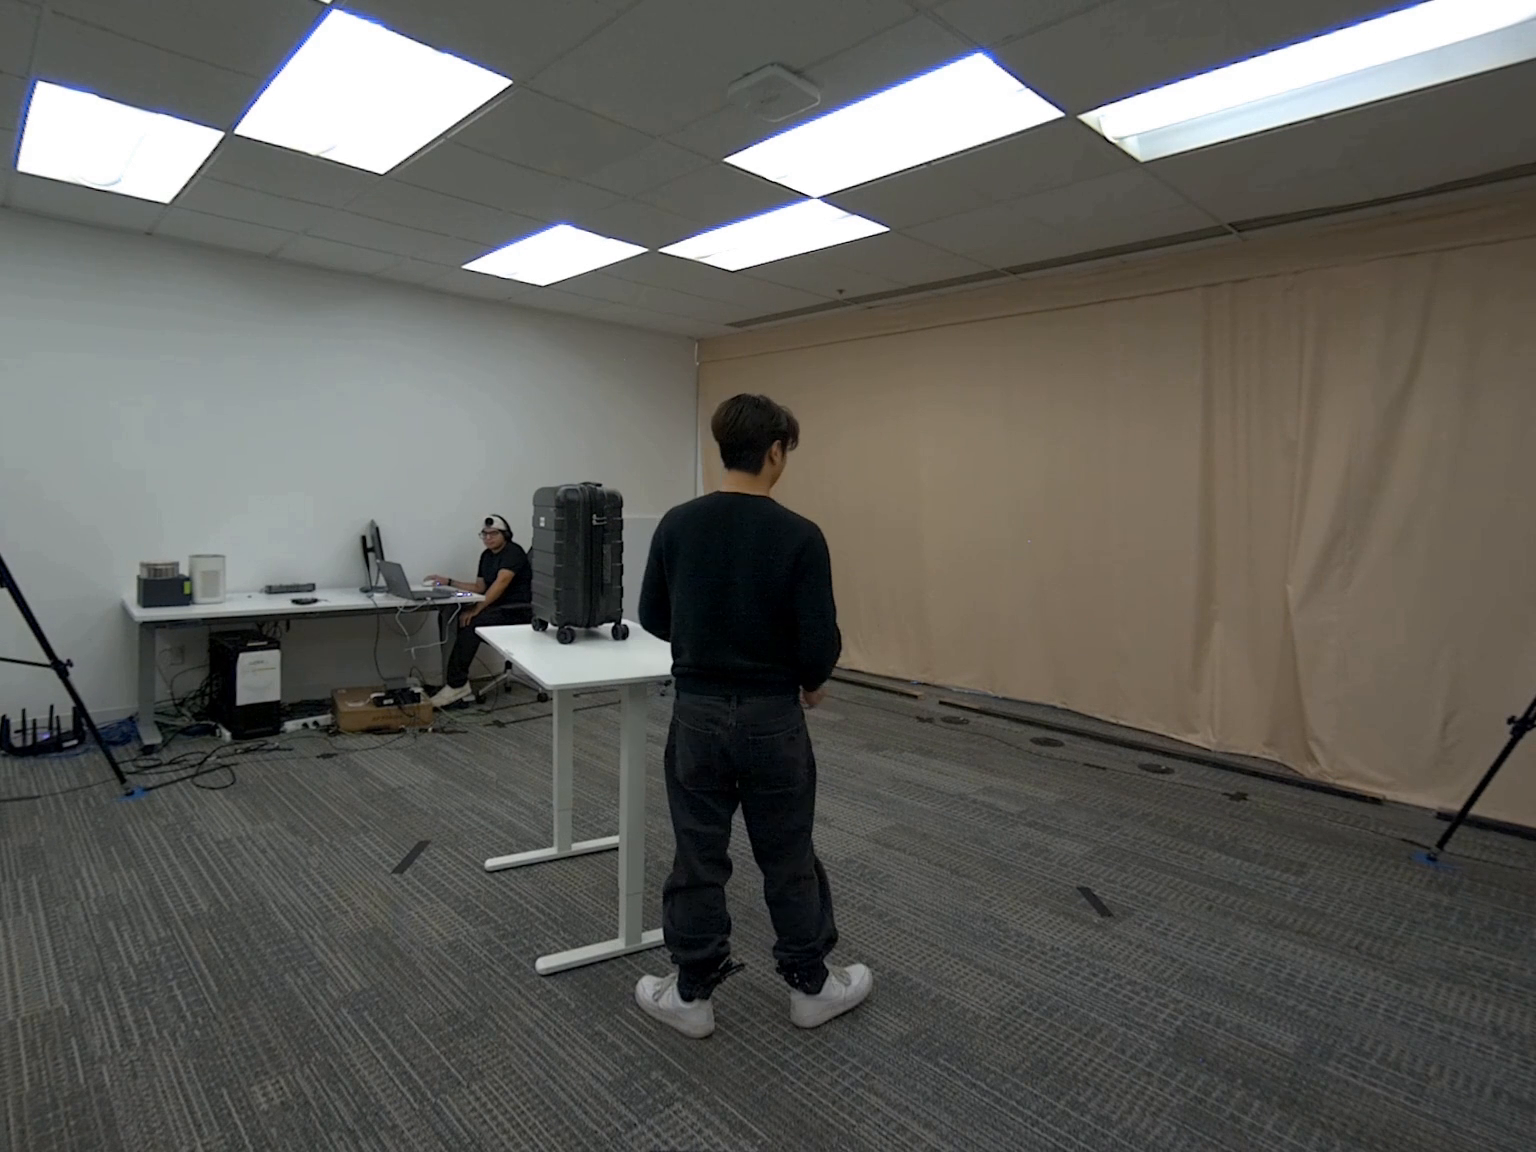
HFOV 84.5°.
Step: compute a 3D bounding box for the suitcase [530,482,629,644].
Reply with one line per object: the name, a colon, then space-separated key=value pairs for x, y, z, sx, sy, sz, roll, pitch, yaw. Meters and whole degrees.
suitcase: x=-0.692 y=-0.062 z=3.044 sx=0.243 sy=0.547 sz=0.384 roll=-2 pitch=6 yaw=-31
